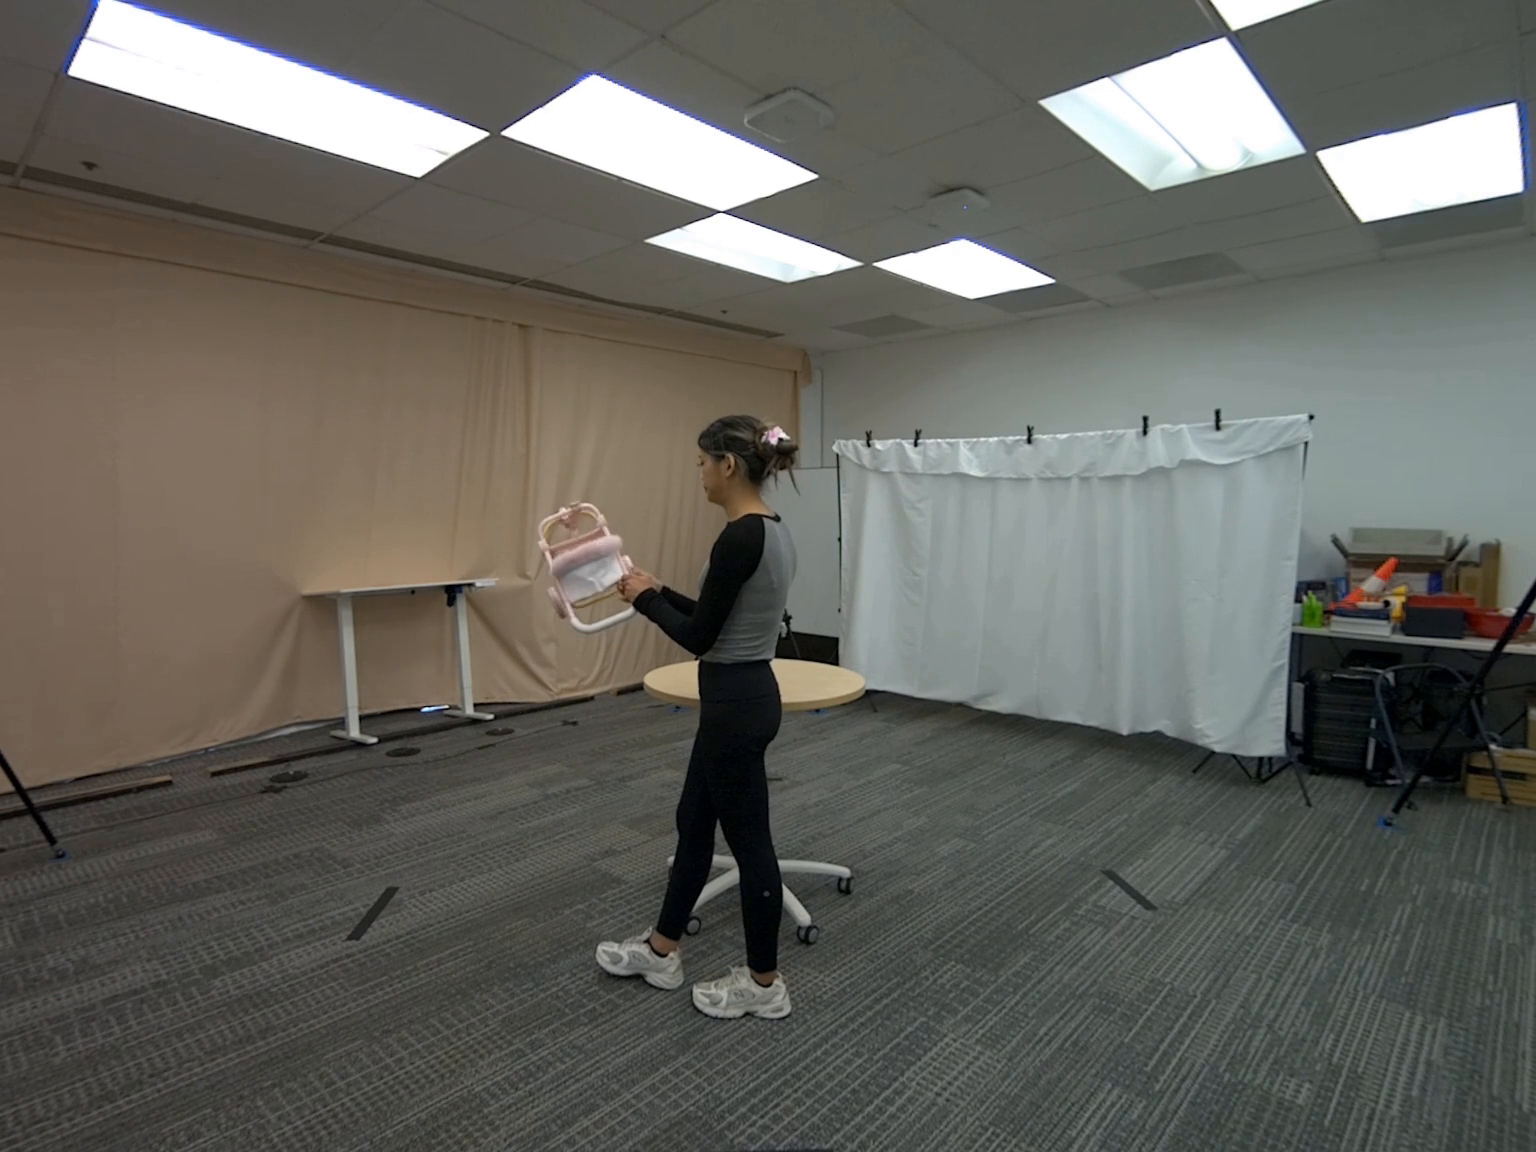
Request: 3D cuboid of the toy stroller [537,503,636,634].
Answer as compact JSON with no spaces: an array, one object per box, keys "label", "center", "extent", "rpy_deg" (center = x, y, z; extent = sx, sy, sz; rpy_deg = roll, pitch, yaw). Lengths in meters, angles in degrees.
[{"label":"toy stroller","center":[-0.556,-0.046,2.540],"extent":[0.279,0.339,0.544],"rpy_deg":[-19,9,-13]}]
